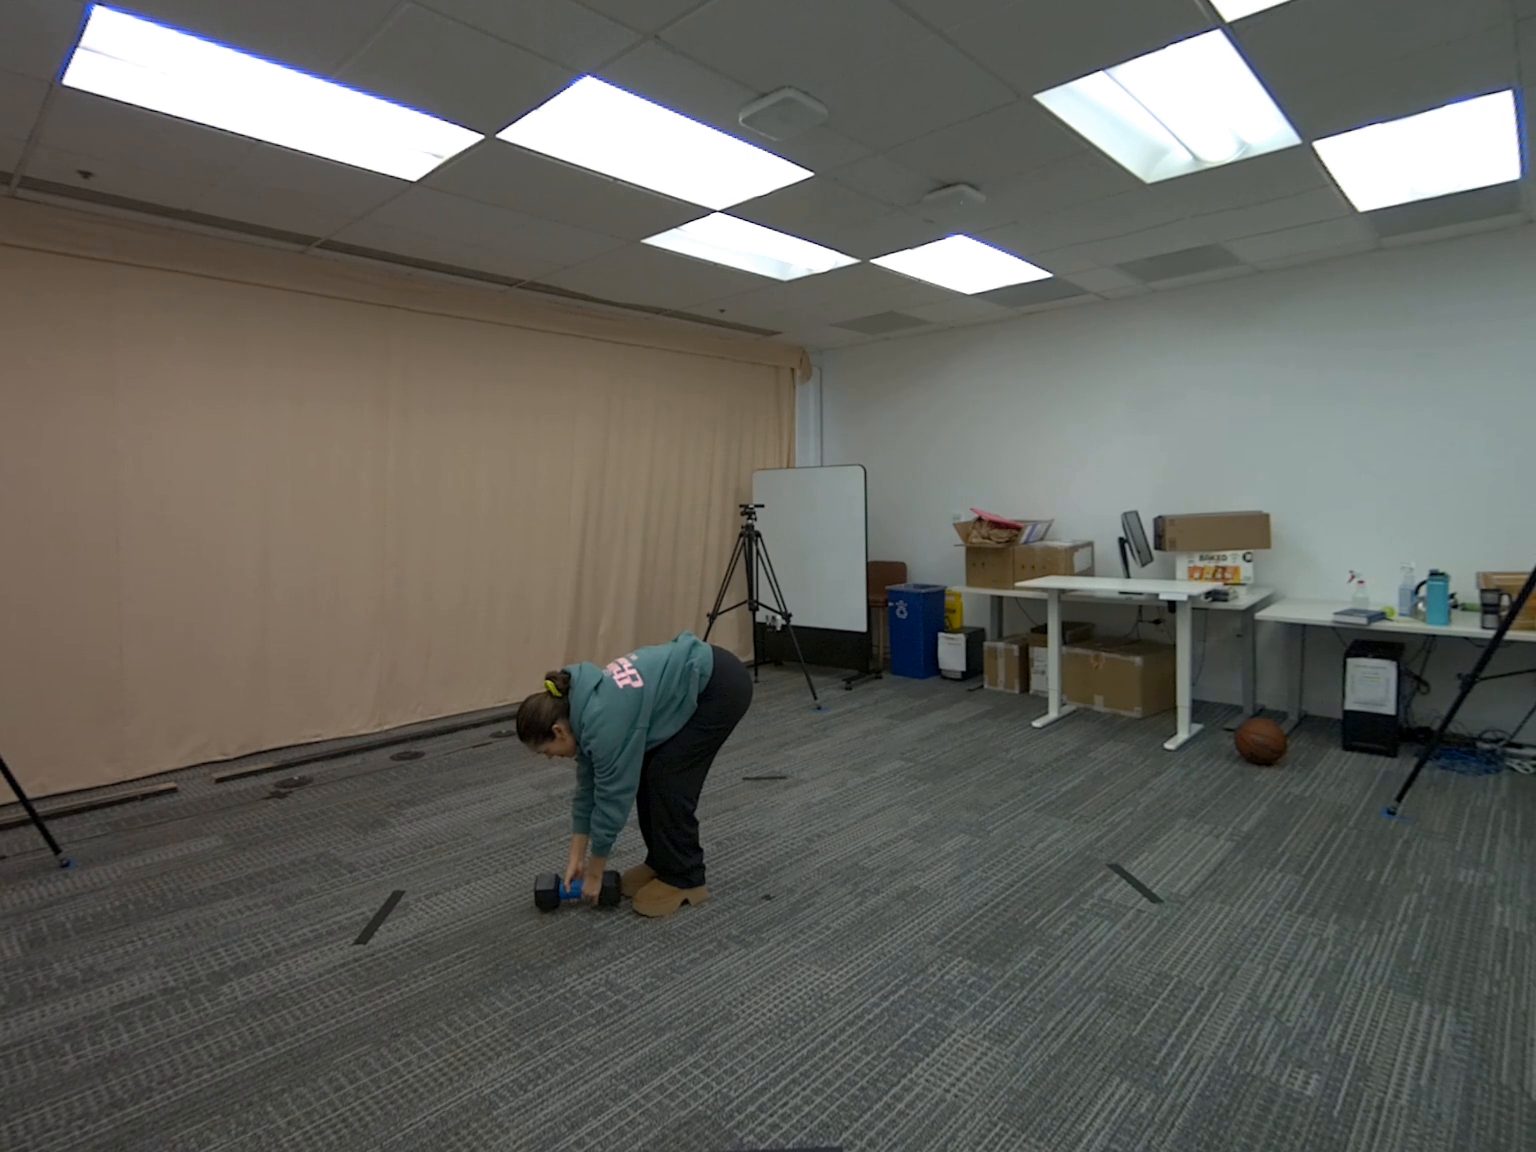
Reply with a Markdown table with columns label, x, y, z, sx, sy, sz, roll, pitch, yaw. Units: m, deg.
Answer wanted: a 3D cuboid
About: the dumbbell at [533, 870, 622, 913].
| label | x | y | z | sx | sy | sz | roll | pitch | yaw |
| --- | --- | --- | --- | --- | --- | --- | --- | --- | --- |
| dumbbell | -0.667 | 1.106 | 2.928 | 0.292 | 0.122 | 0.109 | -3 | 5 | -4 |
